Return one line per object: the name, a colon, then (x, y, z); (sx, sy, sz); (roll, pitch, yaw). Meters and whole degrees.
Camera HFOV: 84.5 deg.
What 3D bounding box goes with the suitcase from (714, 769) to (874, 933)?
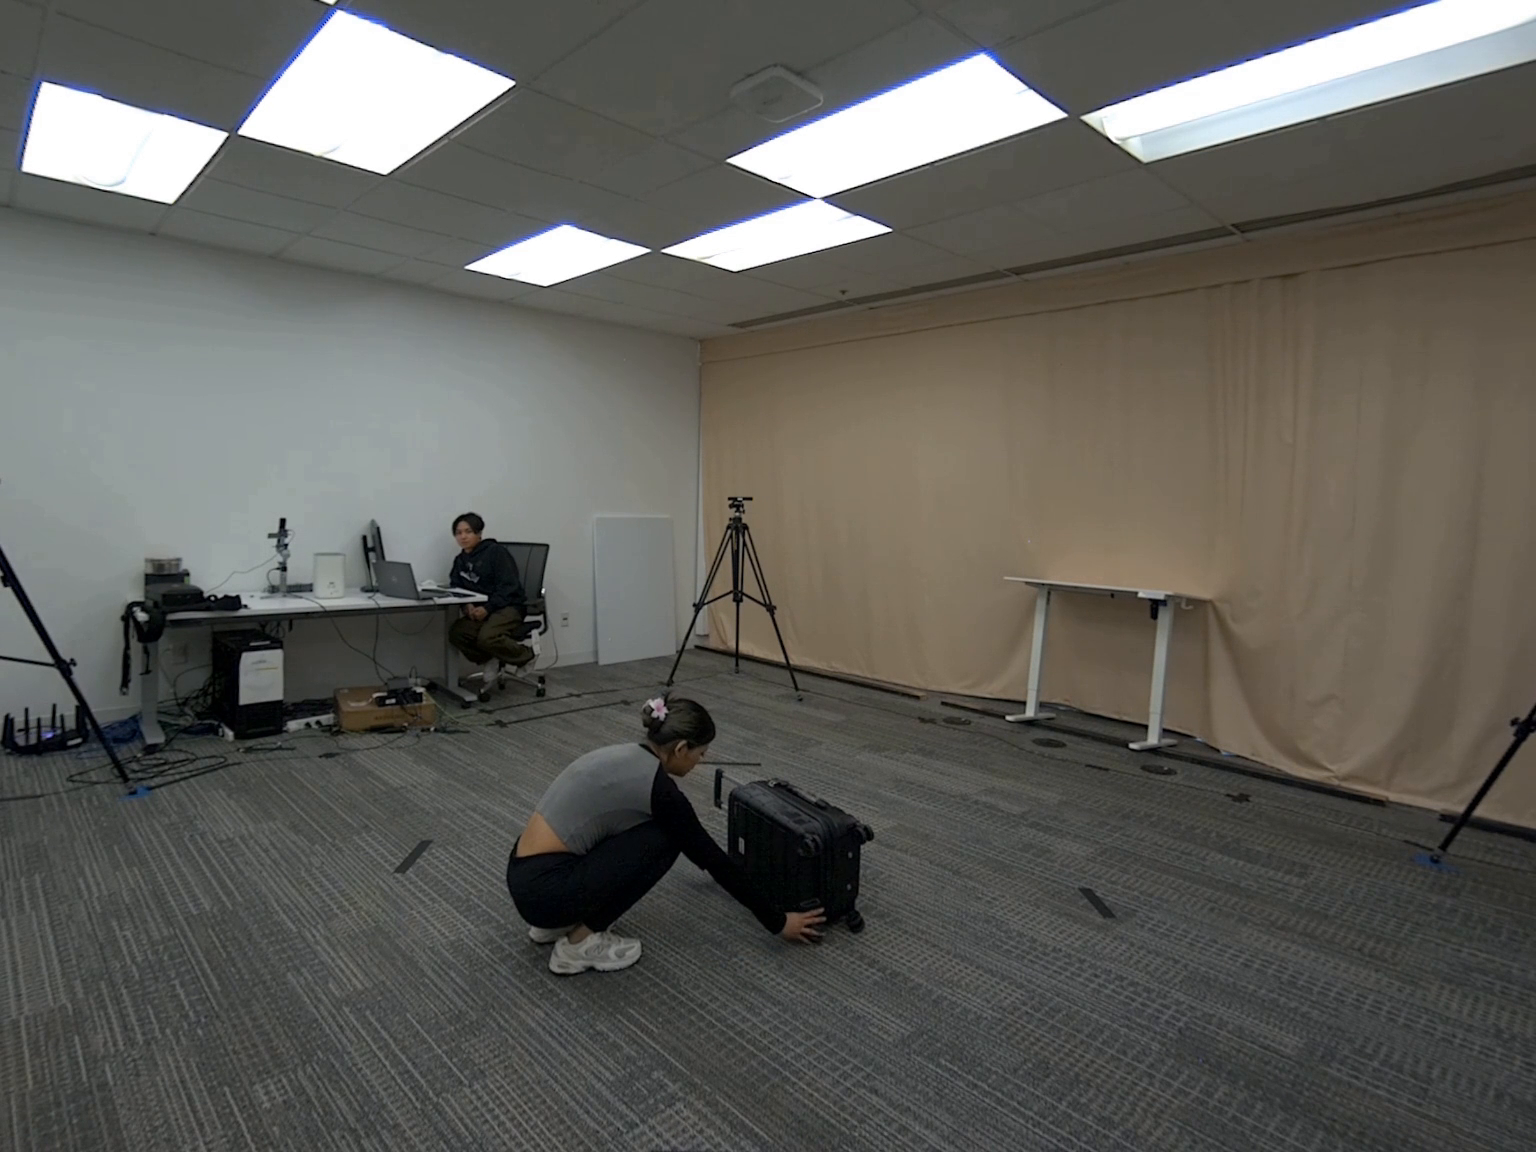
suitcase: (-0.041, 0.922, 3.074); (0.251, 0.383, 1.002); (0, 5, -33)
